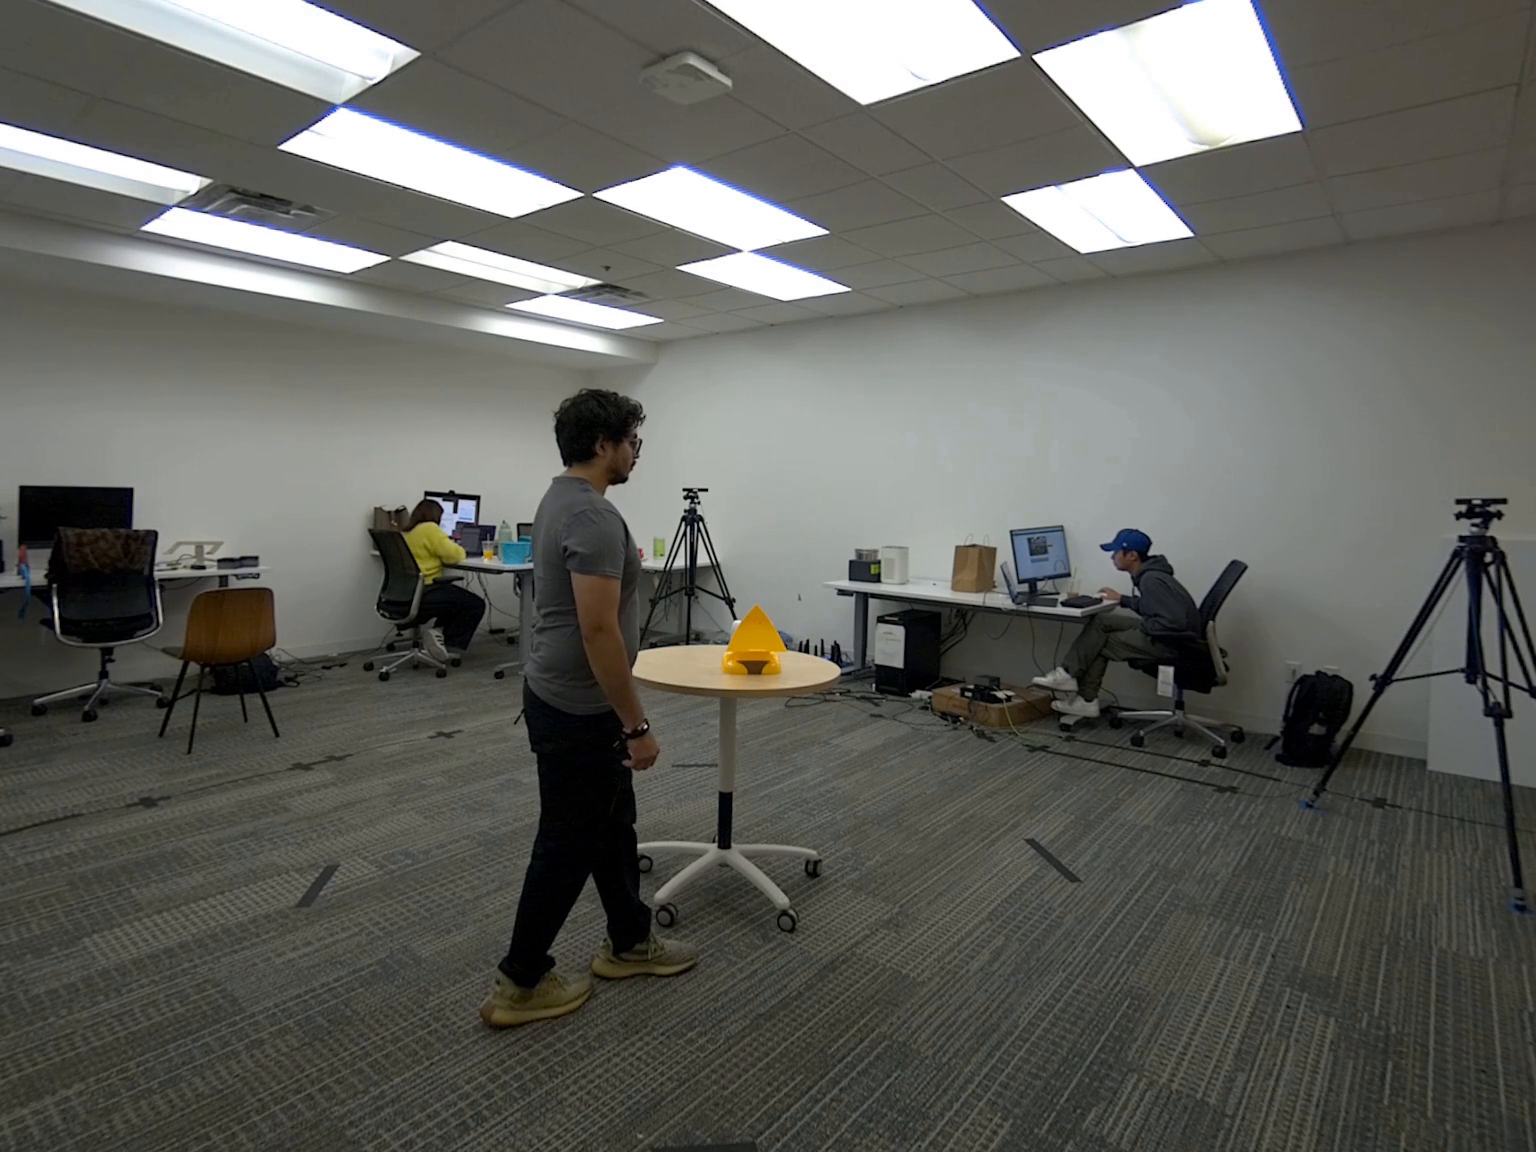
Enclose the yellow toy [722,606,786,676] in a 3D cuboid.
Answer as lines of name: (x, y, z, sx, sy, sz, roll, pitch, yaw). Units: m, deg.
yellow toy: (-0.061, 0.200, 2.857, 0.203, 0.230, 0.195, 0, 3, -9)
